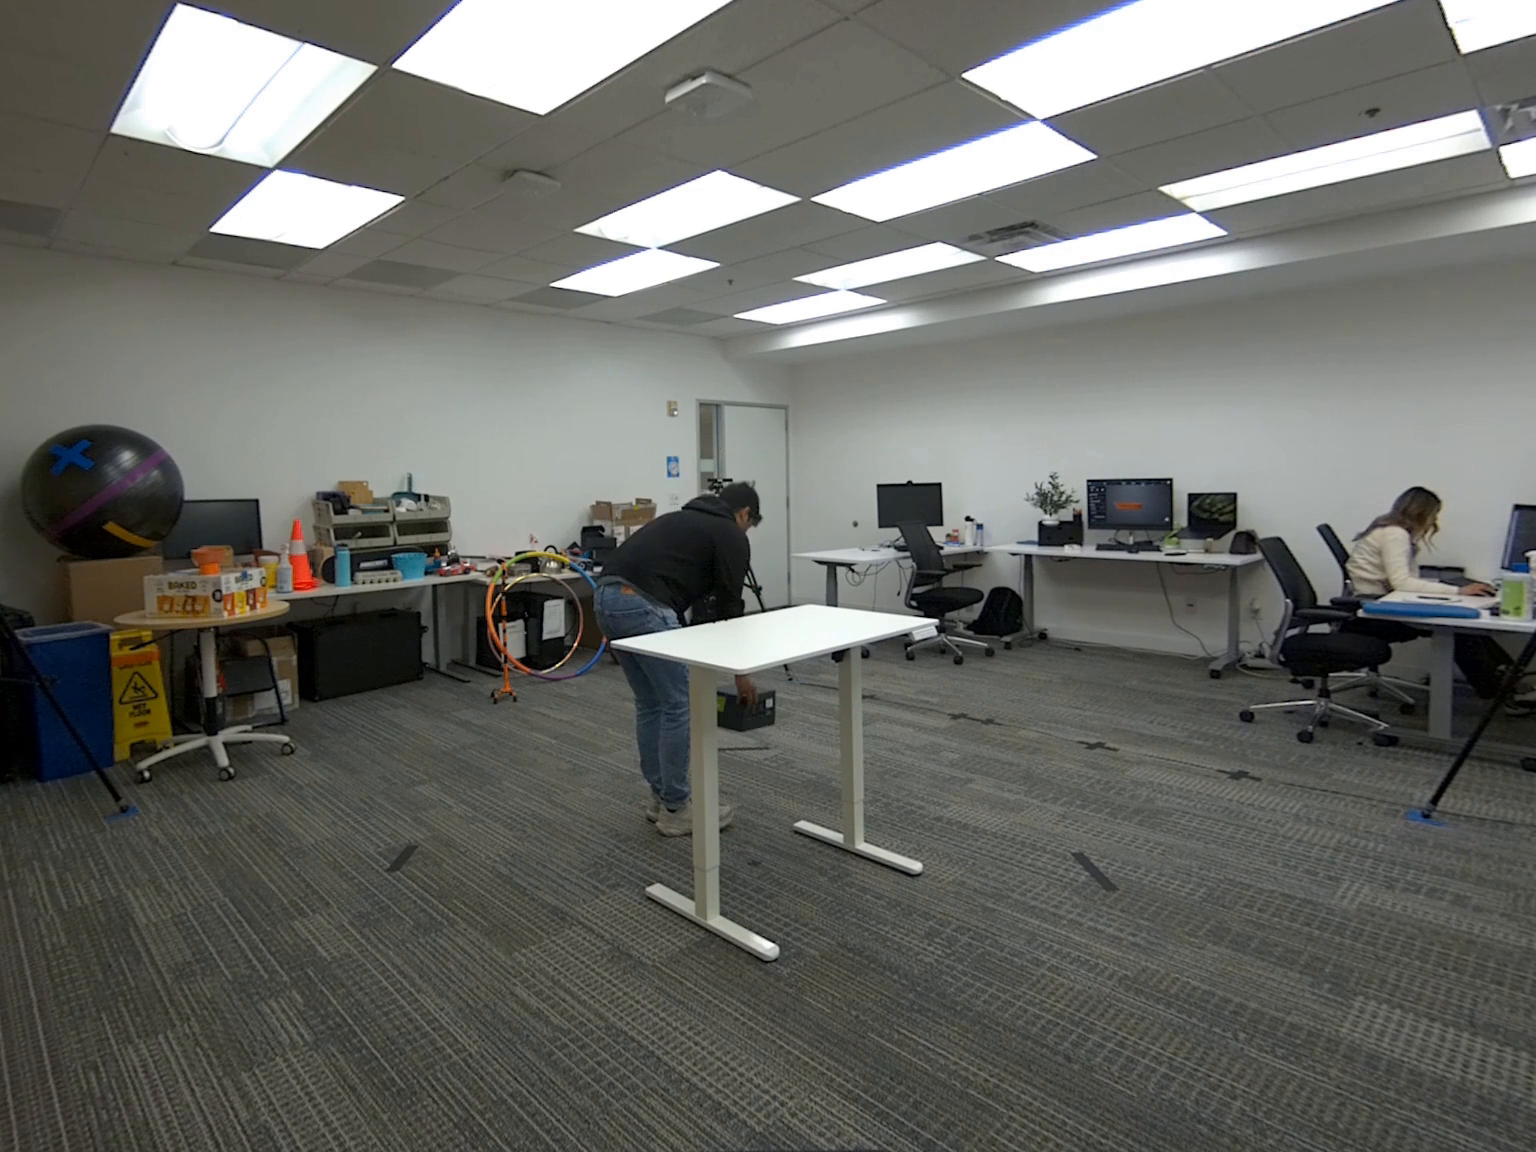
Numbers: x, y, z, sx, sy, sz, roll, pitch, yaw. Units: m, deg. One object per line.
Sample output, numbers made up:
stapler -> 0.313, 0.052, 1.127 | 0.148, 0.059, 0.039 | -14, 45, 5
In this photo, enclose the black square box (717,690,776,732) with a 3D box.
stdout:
black square box -> -0.121, 0.571, 3.789 | 0.235, 0.155, 0.211 | 3, 4, 43
